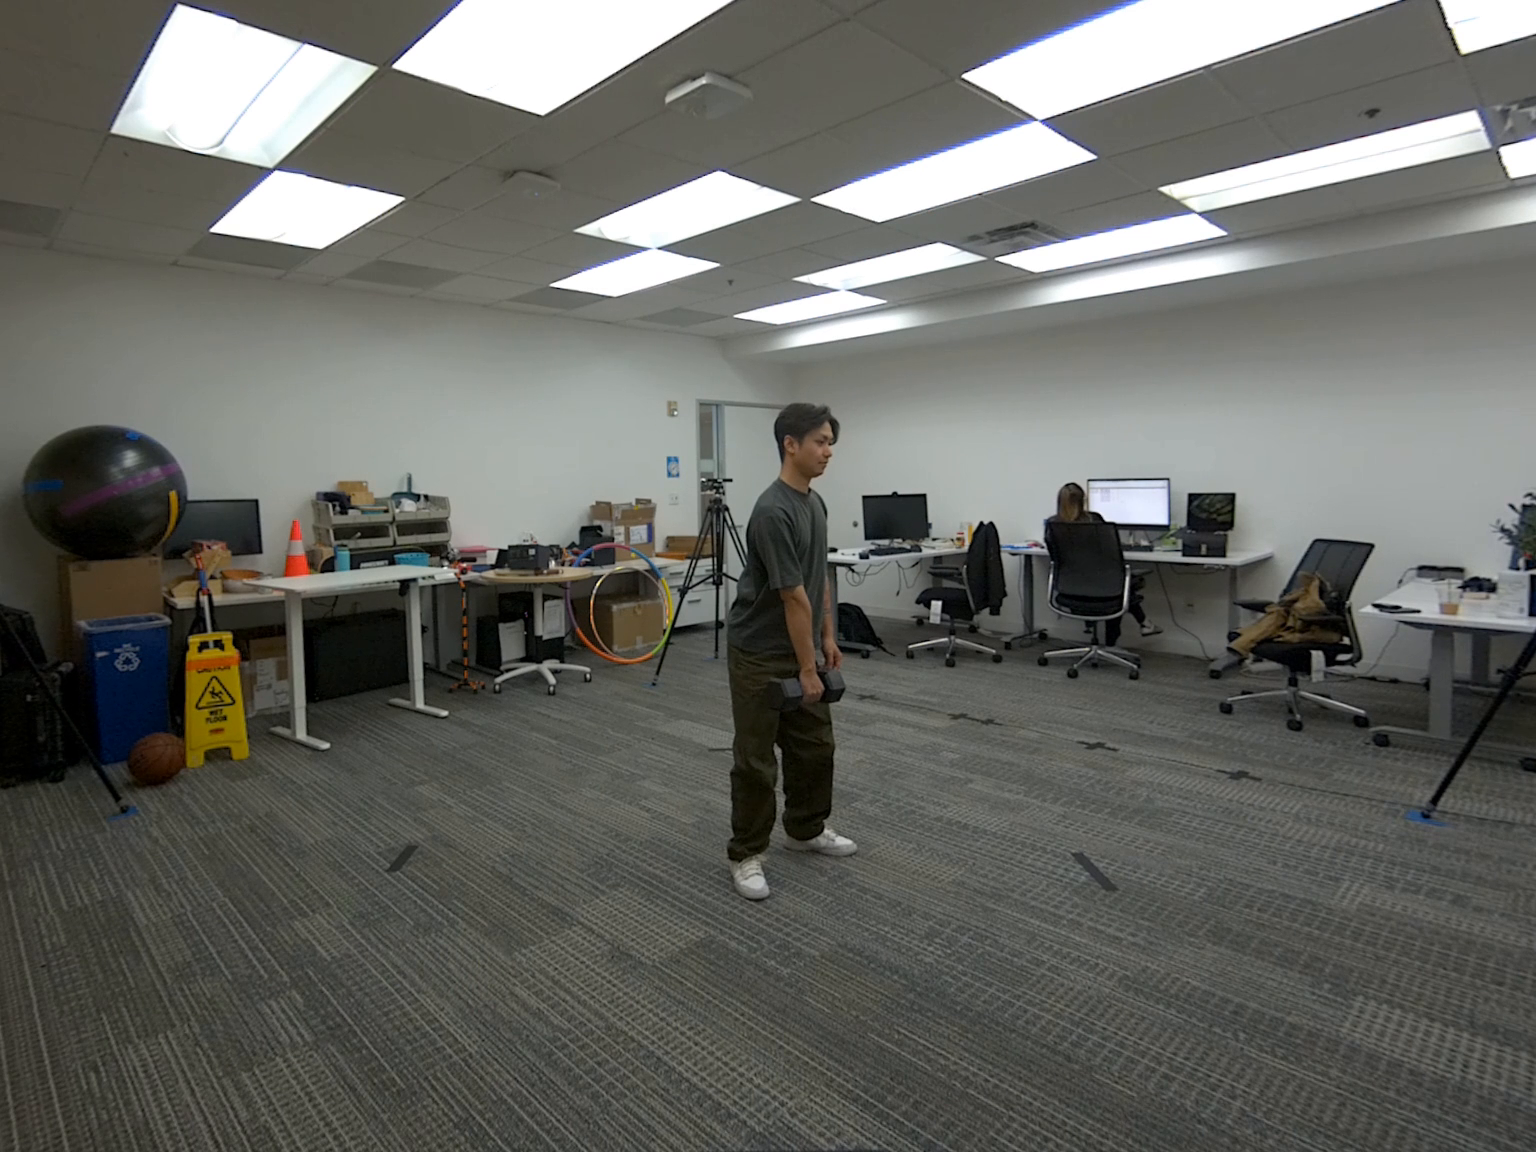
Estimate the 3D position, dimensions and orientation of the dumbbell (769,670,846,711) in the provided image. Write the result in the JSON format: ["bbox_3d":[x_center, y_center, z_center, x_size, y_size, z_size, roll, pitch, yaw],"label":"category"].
[{"bbox_3d":[0.129,0.389,2.899,0.285,0.121,0.113,-2,32,-42],"label":"dumbbell"}]
